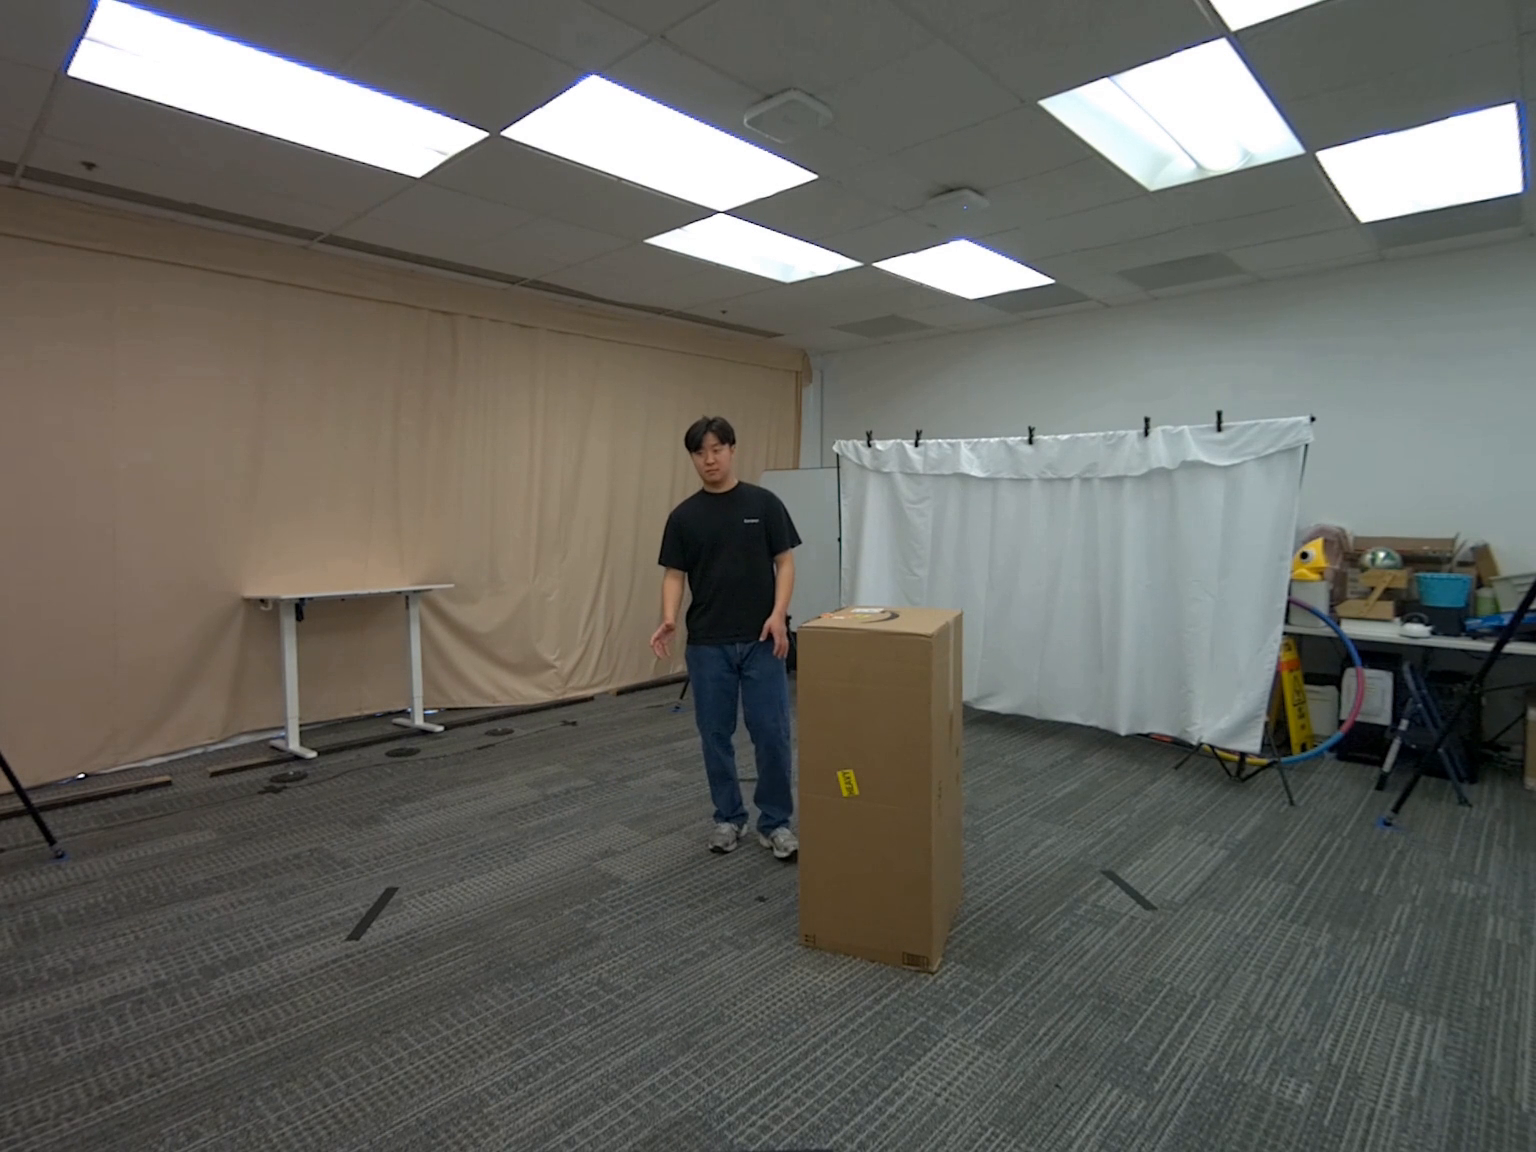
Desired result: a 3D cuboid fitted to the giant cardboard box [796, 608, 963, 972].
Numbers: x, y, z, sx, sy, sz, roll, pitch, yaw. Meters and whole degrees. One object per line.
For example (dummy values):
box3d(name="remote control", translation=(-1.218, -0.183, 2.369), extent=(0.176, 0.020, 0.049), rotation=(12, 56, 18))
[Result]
box3d(name="giant cardboard box", translation=(0.396, 0.644, 2.816), extent=(0.458, 1.025, 0.570), rotation=(0, 3, 24))
